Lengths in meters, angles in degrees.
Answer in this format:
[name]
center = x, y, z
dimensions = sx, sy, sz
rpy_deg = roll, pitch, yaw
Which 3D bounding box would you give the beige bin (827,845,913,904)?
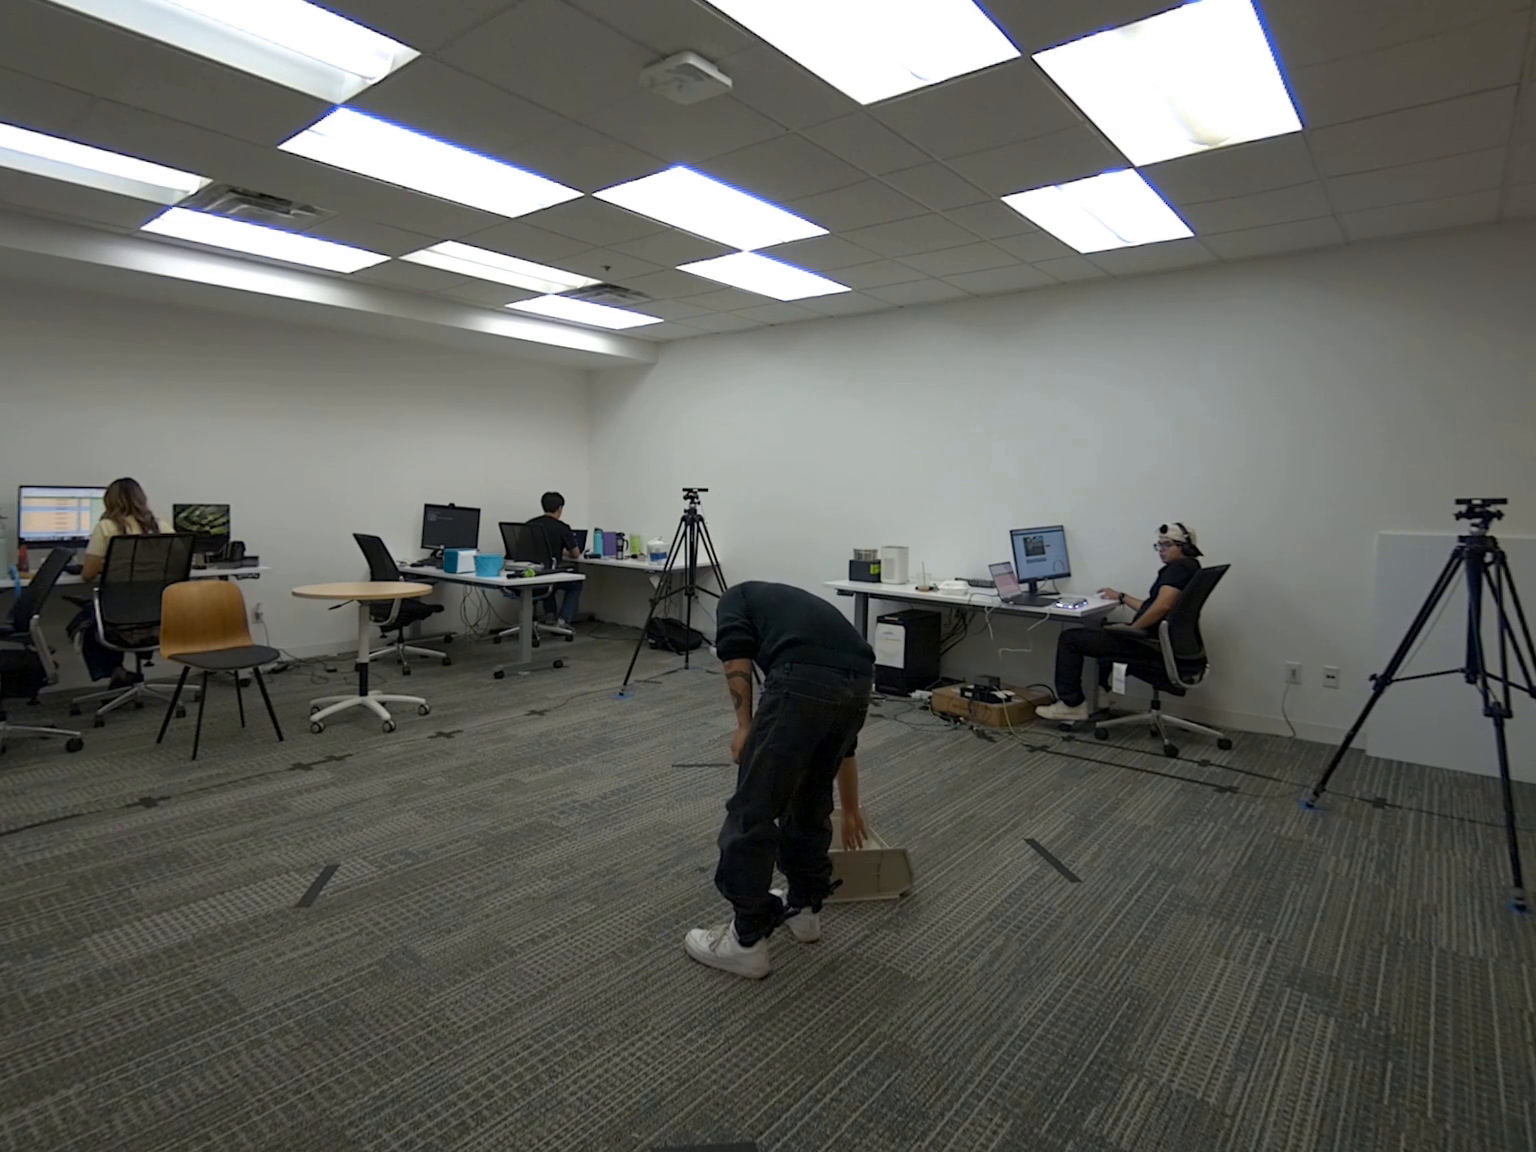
[beige bin]
center = 0.271, 1.005, 3.092
dimensions = 0.372, 0.188, 0.430
rpy_deg = -1, 6, -13
